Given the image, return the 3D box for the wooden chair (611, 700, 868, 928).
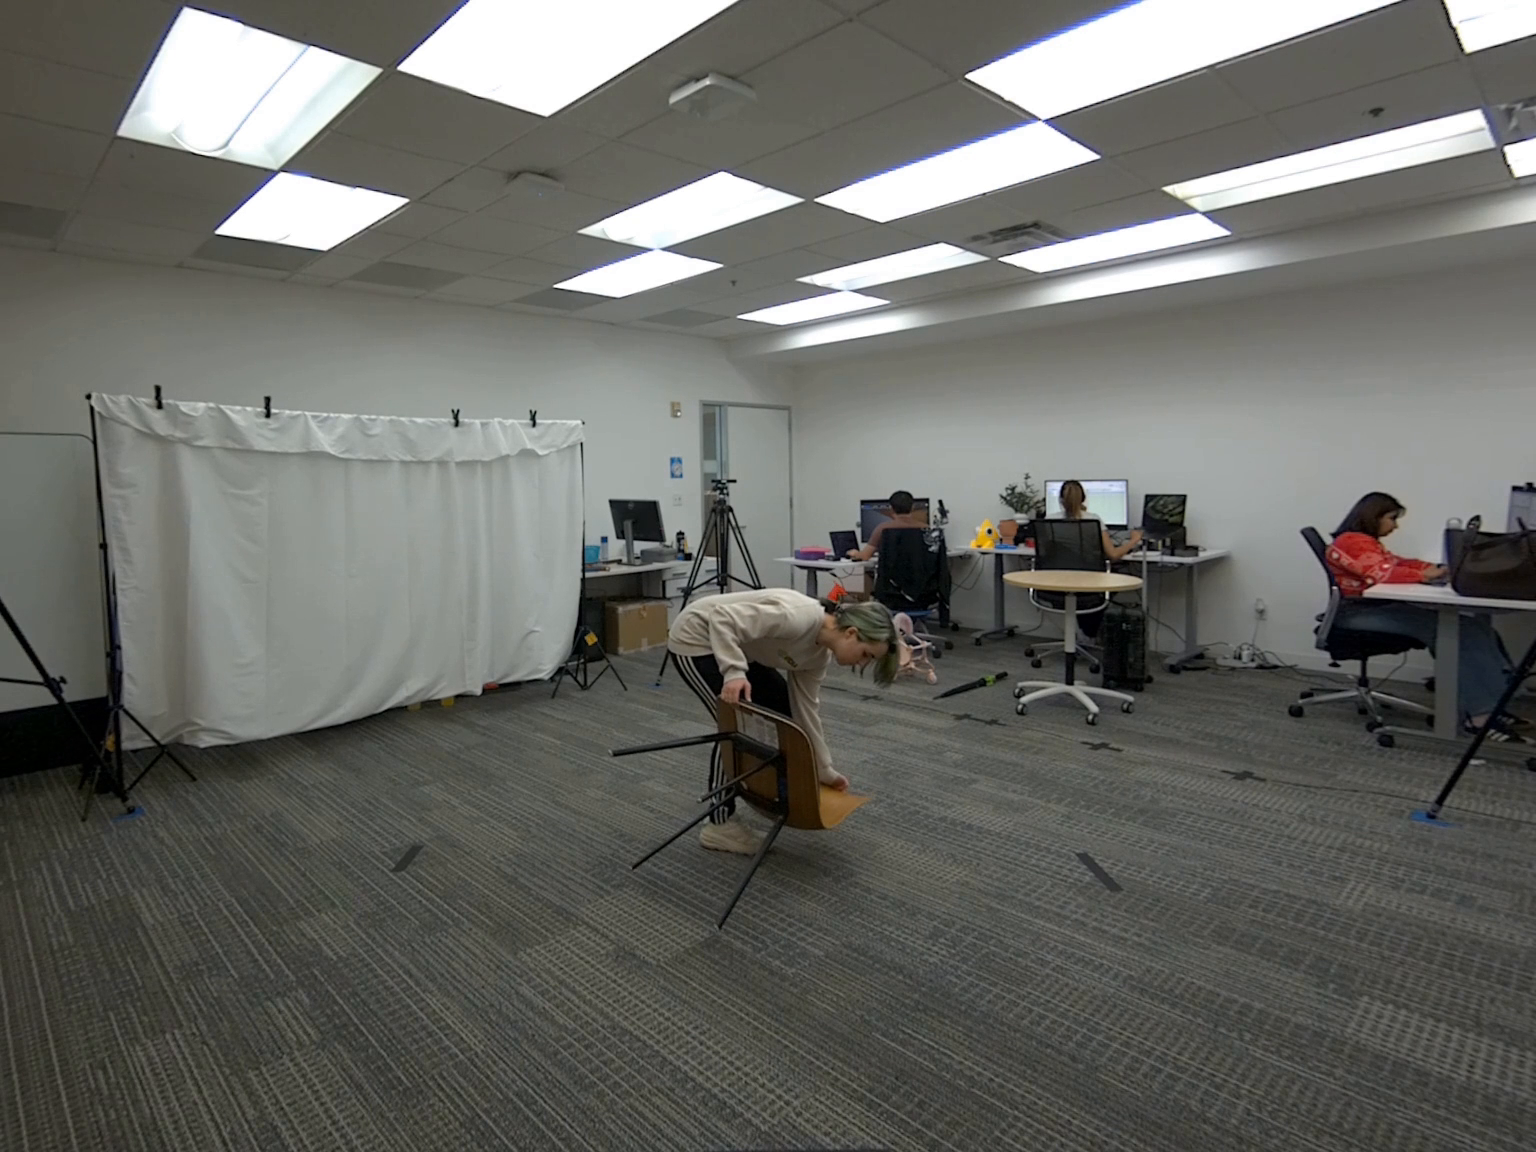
[{"bbox_3d":[-0.035,0.689,2.920,0.859,0.517,0.494,-16,19,-42],"label":"wooden chair"}]
